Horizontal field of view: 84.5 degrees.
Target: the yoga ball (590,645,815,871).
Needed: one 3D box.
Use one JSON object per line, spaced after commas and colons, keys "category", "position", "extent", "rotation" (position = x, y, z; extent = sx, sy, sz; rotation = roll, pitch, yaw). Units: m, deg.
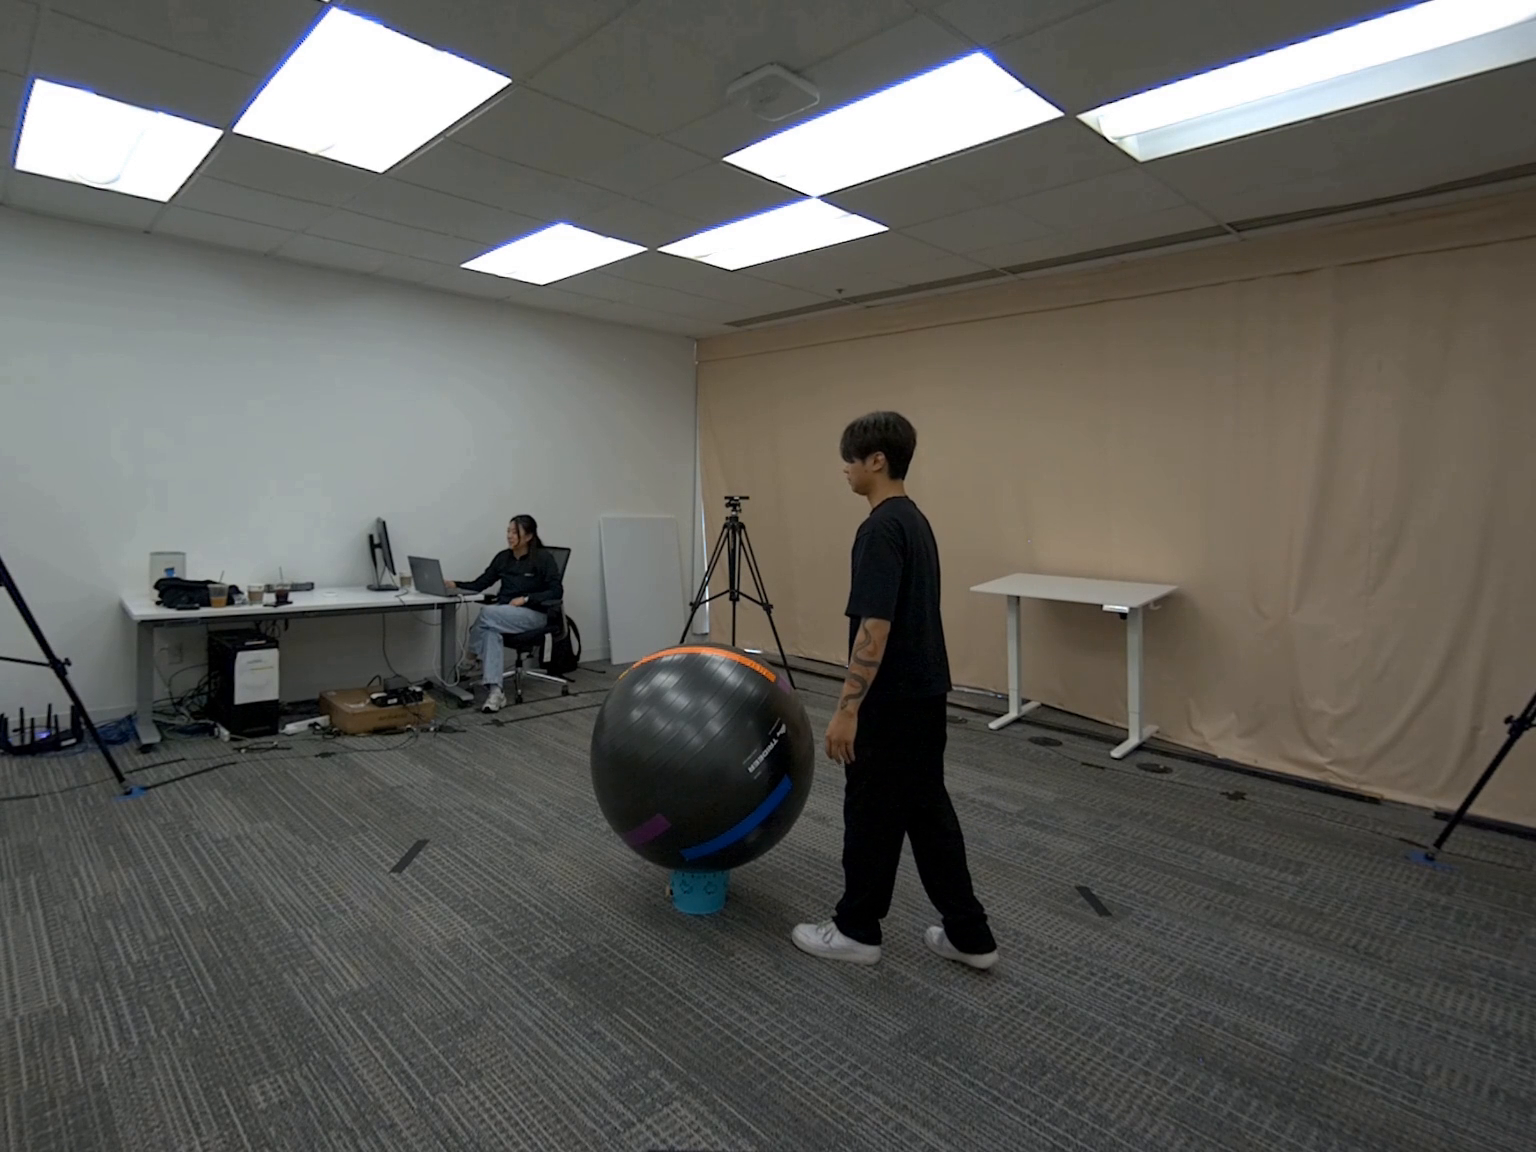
{"category": "yoga ball", "position": [-0.235, 0.616, 2.869], "extent": [0.757, 0.756, 0.761], "rotation": [1, 4, -1]}
